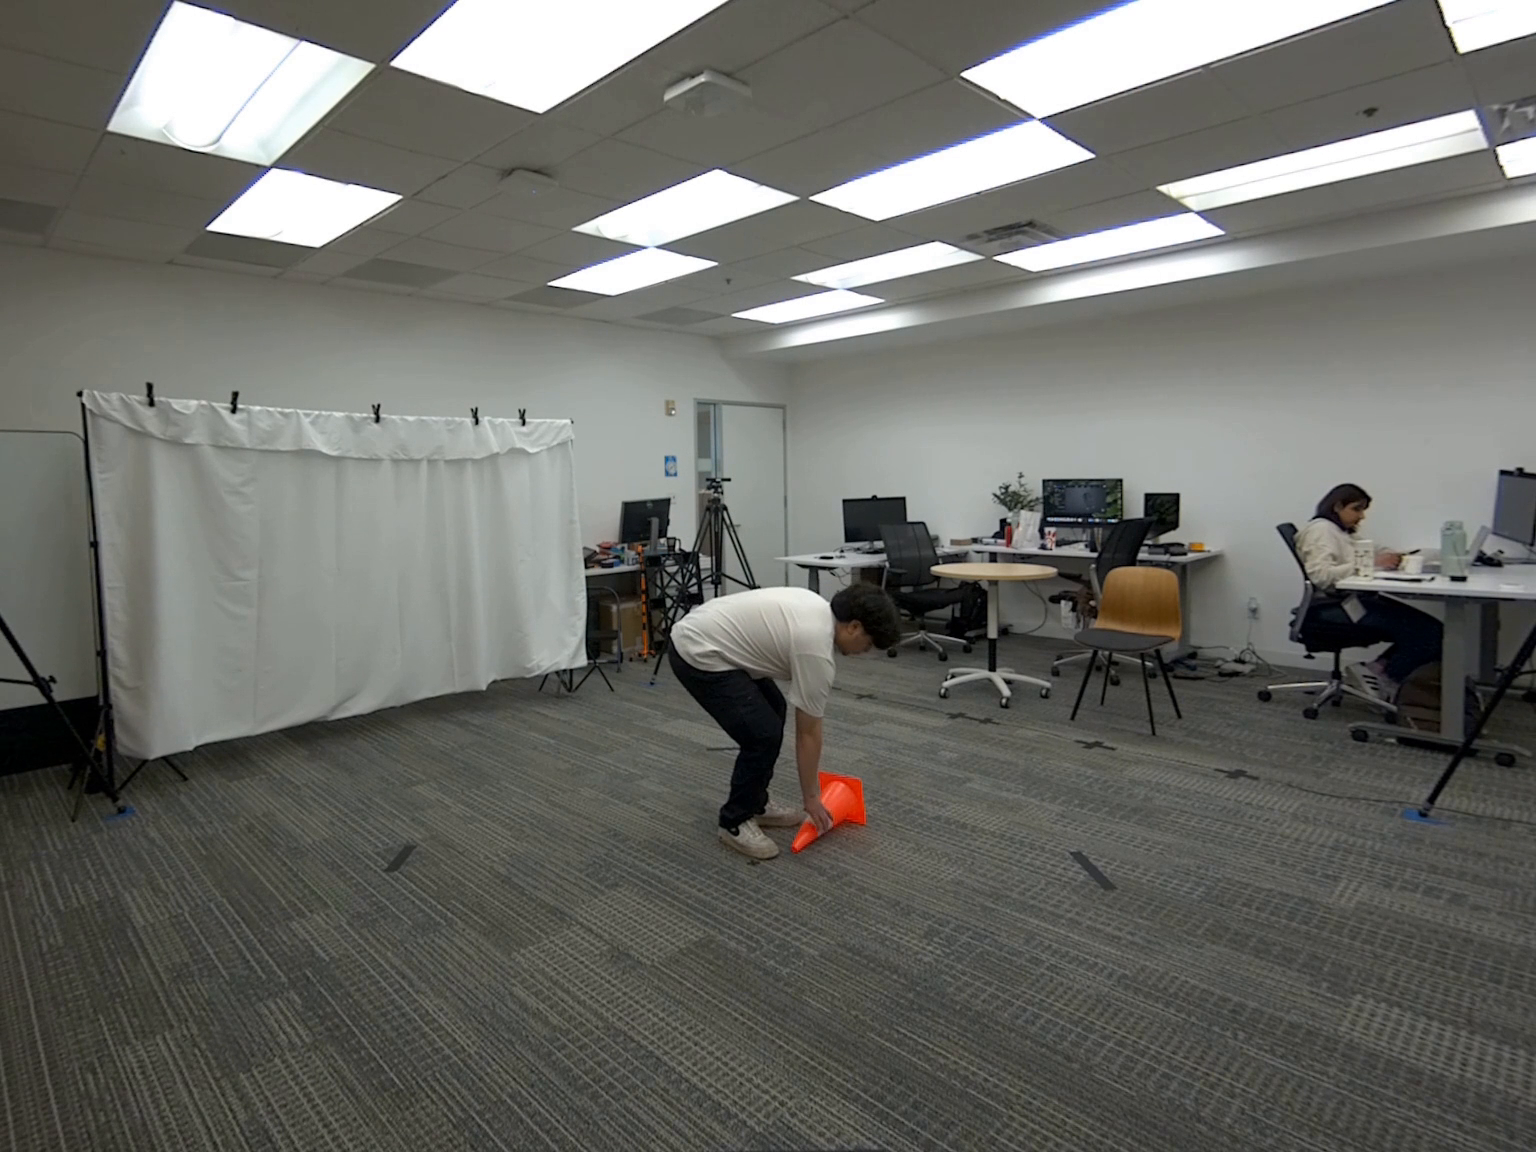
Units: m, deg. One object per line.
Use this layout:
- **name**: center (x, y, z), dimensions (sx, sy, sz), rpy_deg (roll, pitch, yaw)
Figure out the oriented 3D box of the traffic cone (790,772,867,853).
- **traffic cone**: center (0.202, 0.961, 3.327), dimensions (0.211, 0.200, 0.379), rpy_deg (0, 19, 35)
